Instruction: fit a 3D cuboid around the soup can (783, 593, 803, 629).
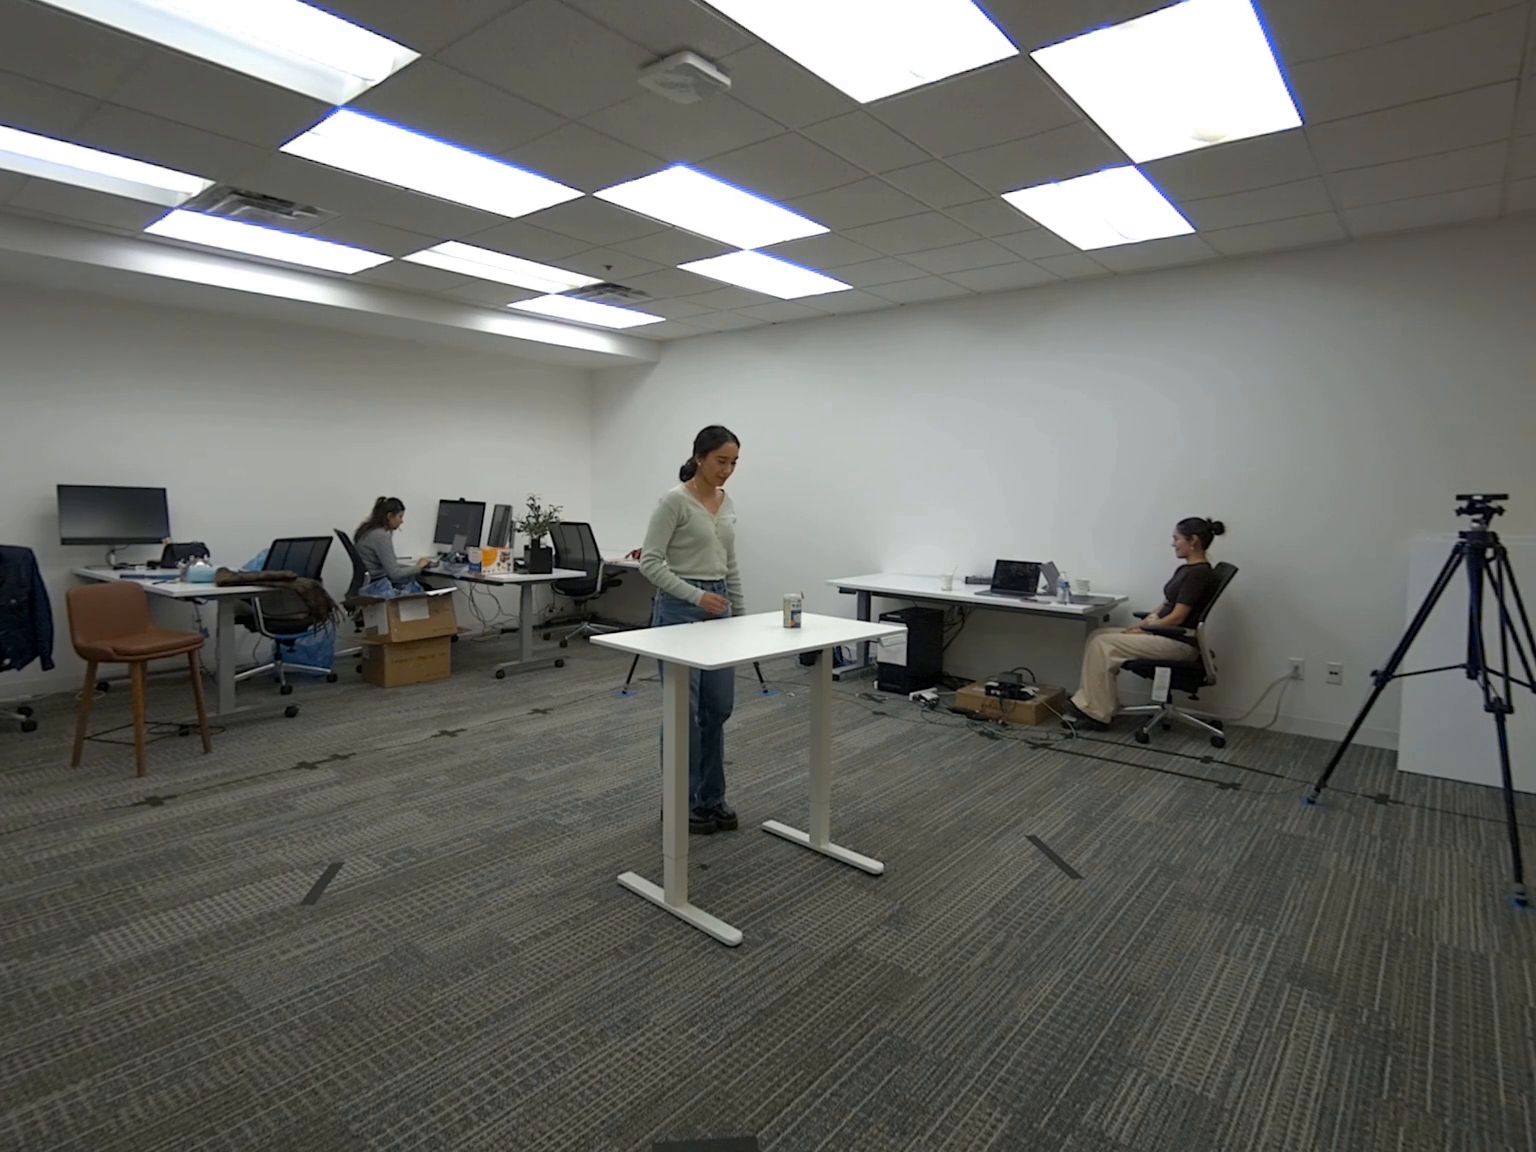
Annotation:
[{"bbox_3d":[0.086,0.129,3.115,0.067,0.121,0.067,3,1,-2],"label":"soup can"}]
